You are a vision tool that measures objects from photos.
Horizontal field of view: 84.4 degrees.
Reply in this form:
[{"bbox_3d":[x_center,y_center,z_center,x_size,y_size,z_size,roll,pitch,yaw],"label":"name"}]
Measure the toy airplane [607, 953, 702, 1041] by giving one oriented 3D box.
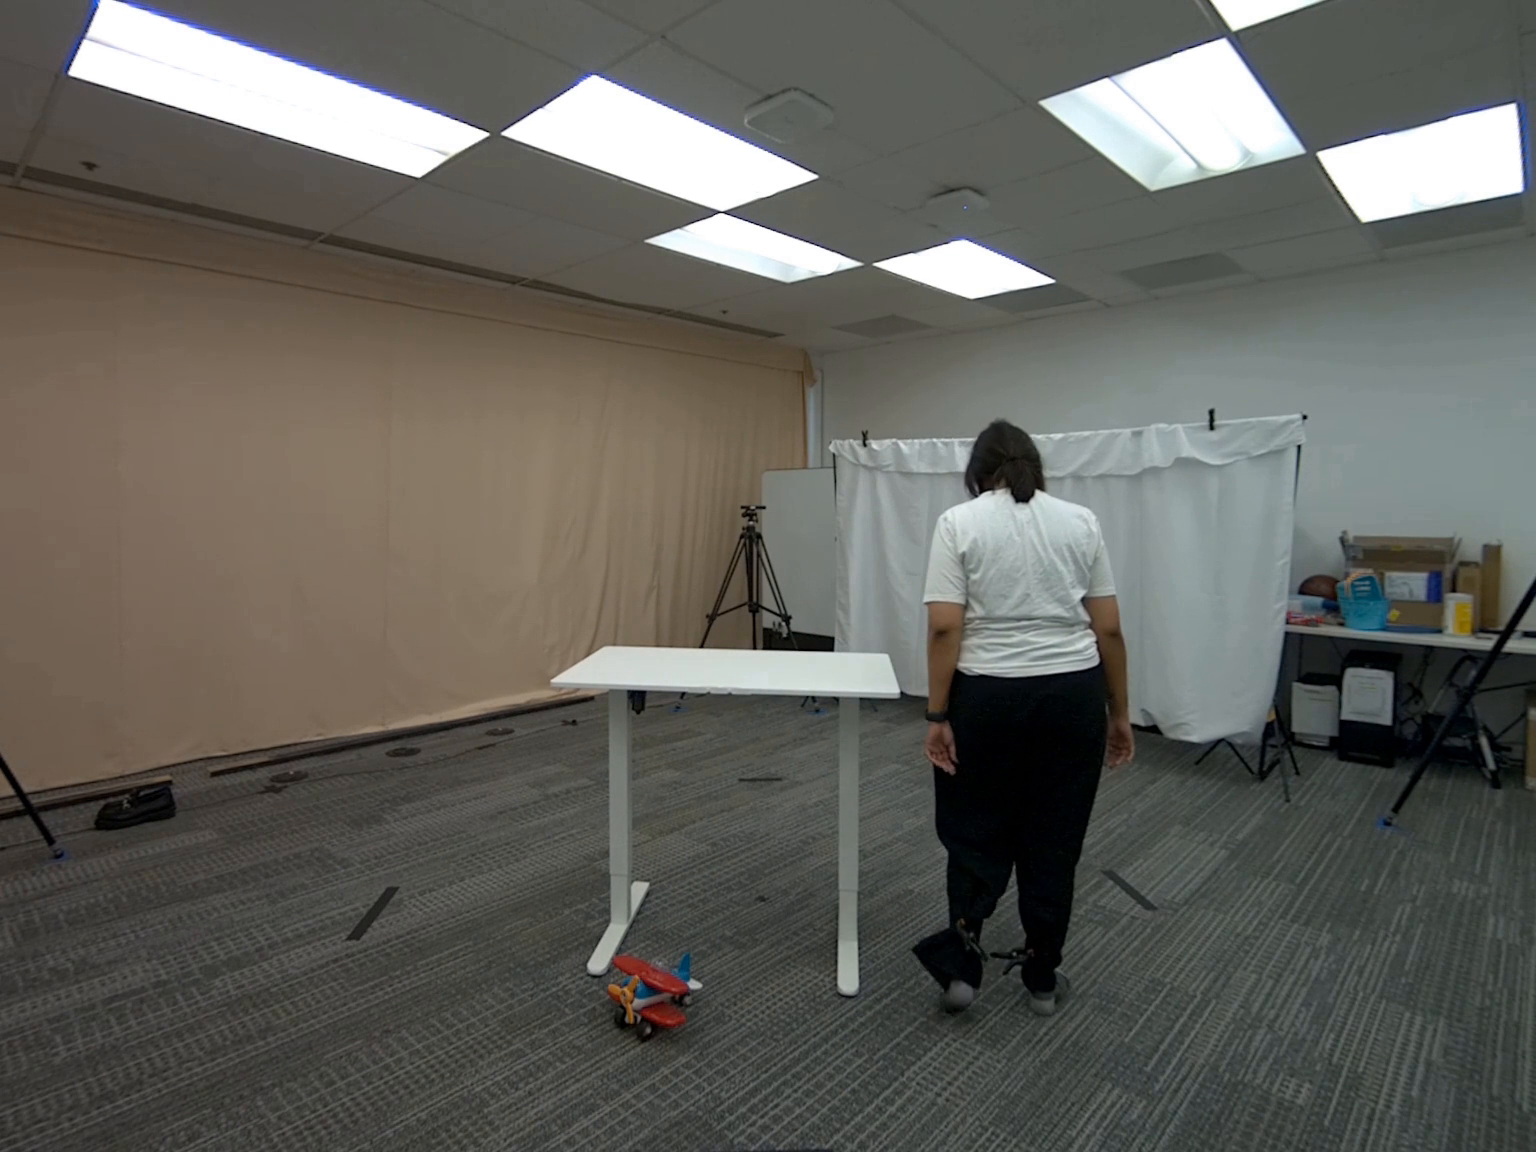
[{"bbox_3d":[-0.314,1.135,2.290,0.254,0.156,0.257,0,6,11],"label":"toy airplane"}]
